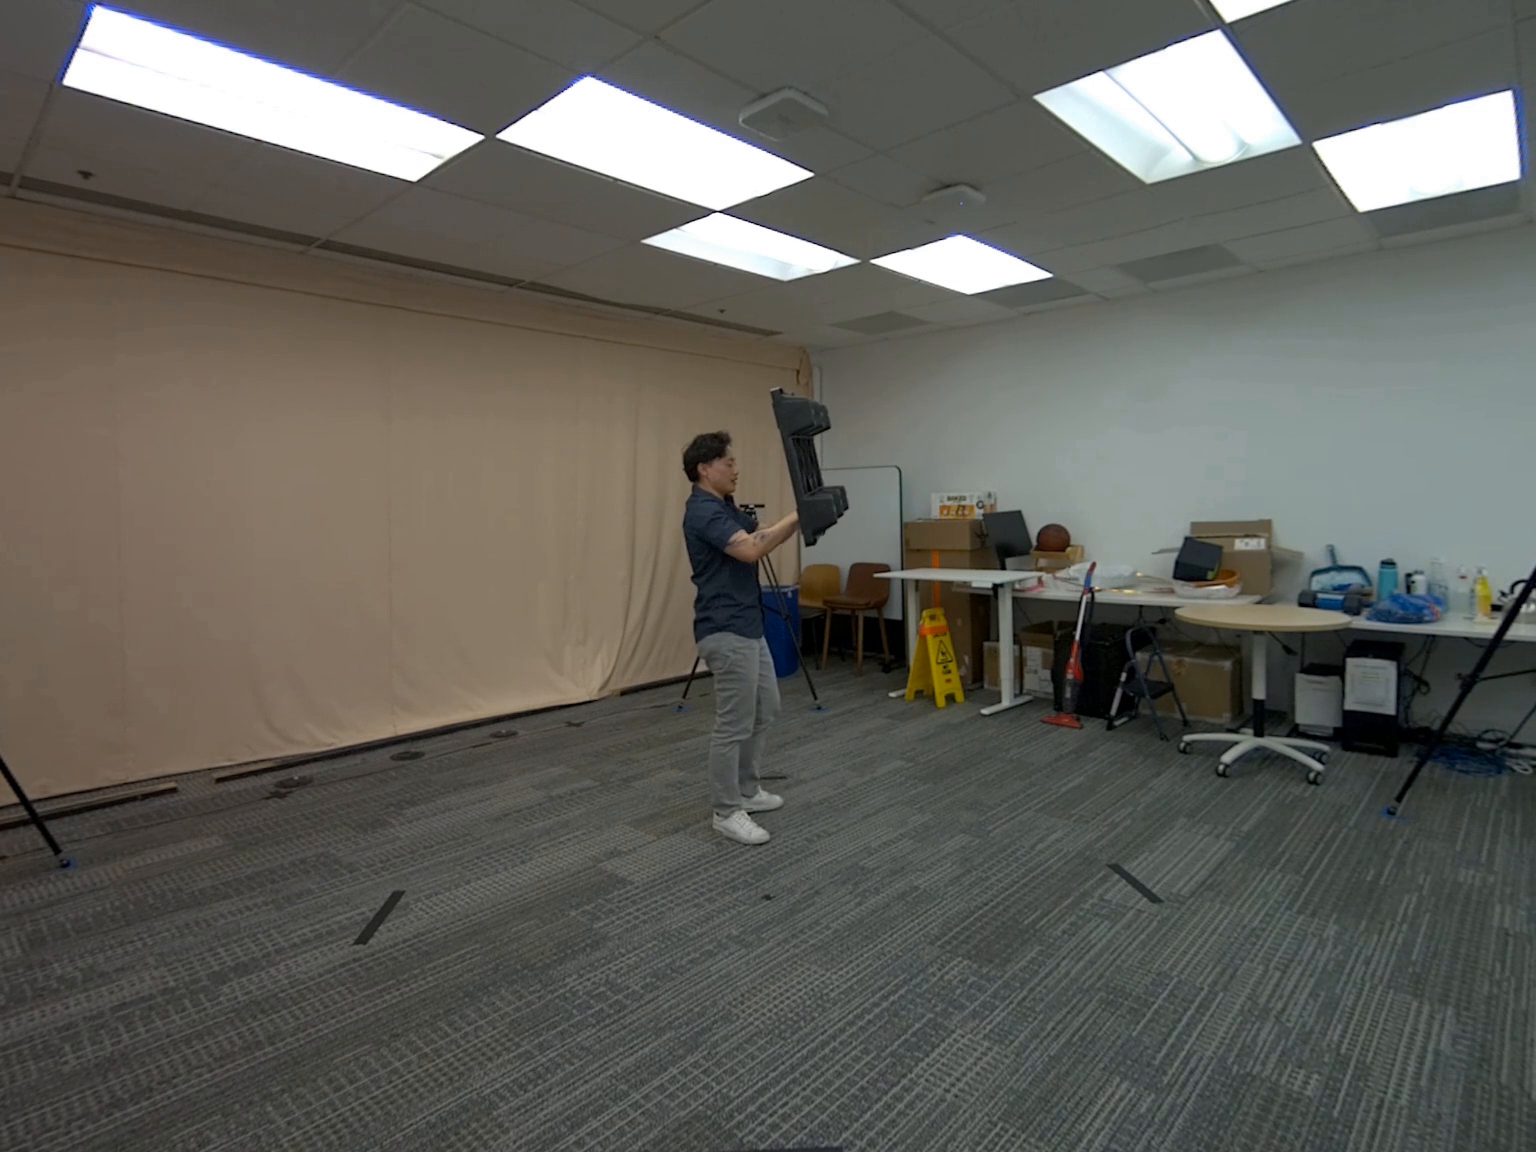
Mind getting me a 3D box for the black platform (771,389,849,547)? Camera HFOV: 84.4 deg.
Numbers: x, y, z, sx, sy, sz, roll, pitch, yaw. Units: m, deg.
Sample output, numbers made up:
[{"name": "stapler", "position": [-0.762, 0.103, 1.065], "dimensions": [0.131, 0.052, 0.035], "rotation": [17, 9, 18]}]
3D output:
[{"name": "black platform", "position": [0.193, -0.473, 3.477], "dimensions": [0.145, 0.602, 0.800], "rotation": [-11, 6, 10]}]
